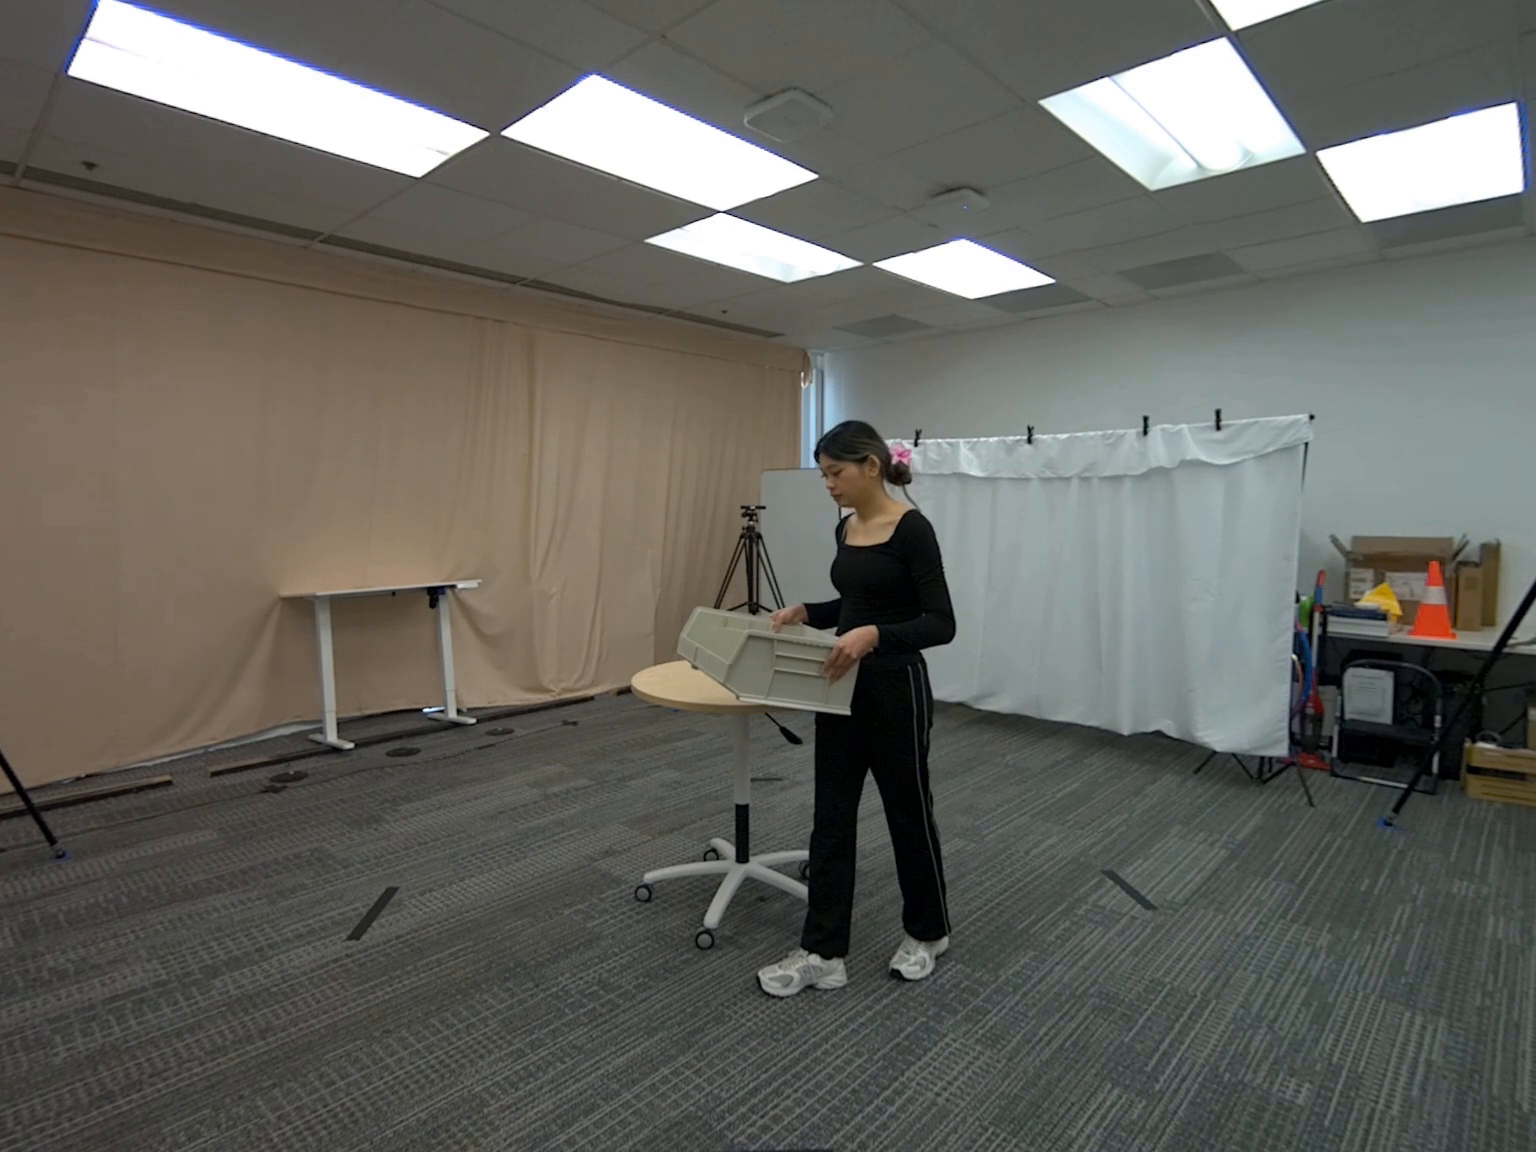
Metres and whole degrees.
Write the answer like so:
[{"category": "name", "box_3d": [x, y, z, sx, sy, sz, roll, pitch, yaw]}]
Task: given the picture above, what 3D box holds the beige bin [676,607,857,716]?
[{"category": "beige bin", "box_3d": [-0.007, 0.224, 2.309, 0.369, 0.189, 0.432, 11, 1, -21]}]
